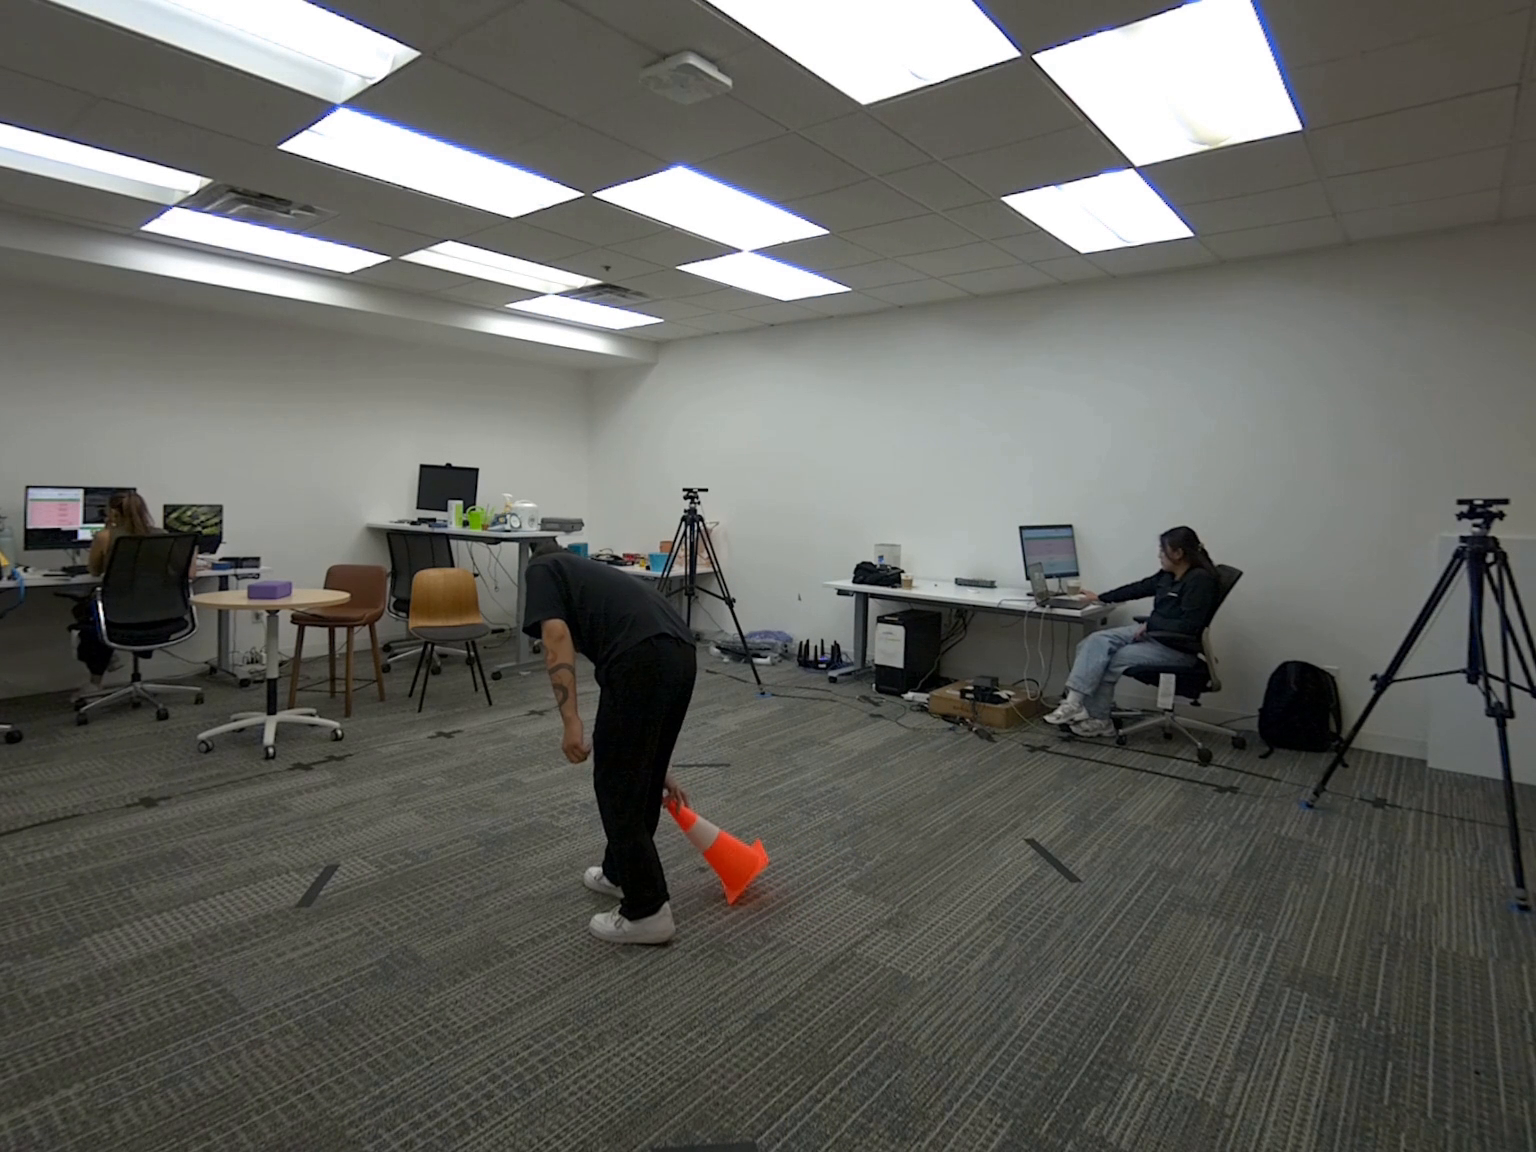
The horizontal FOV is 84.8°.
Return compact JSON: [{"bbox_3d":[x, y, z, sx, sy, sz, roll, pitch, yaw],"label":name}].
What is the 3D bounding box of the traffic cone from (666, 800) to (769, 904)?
[{"bbox_3d":[-0.225,0.893,2.915,0.381,0.205,0.205,43,-5,-6],"label":"traffic cone"}]
